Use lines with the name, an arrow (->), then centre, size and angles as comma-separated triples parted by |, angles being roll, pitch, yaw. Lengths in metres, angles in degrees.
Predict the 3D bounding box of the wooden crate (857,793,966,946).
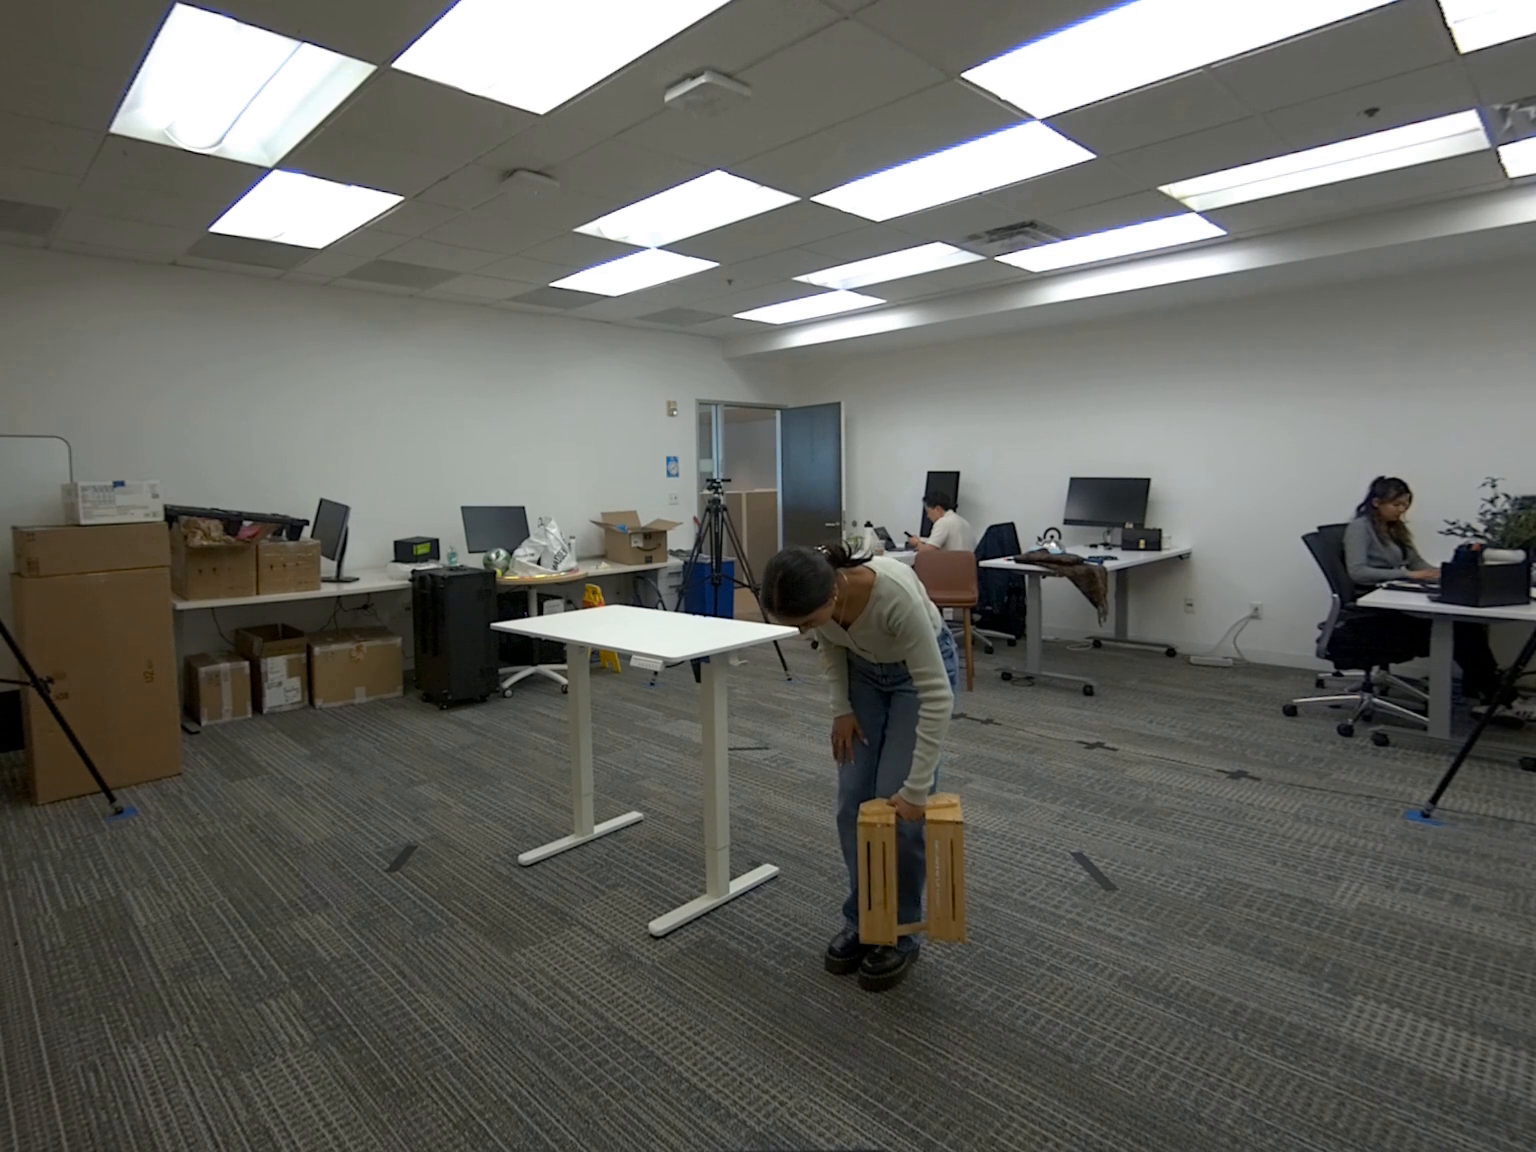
wooden crate -> 0.382, 0.768, 2.242 | 0.277, 0.325, 0.298 | 0, 0, 12
